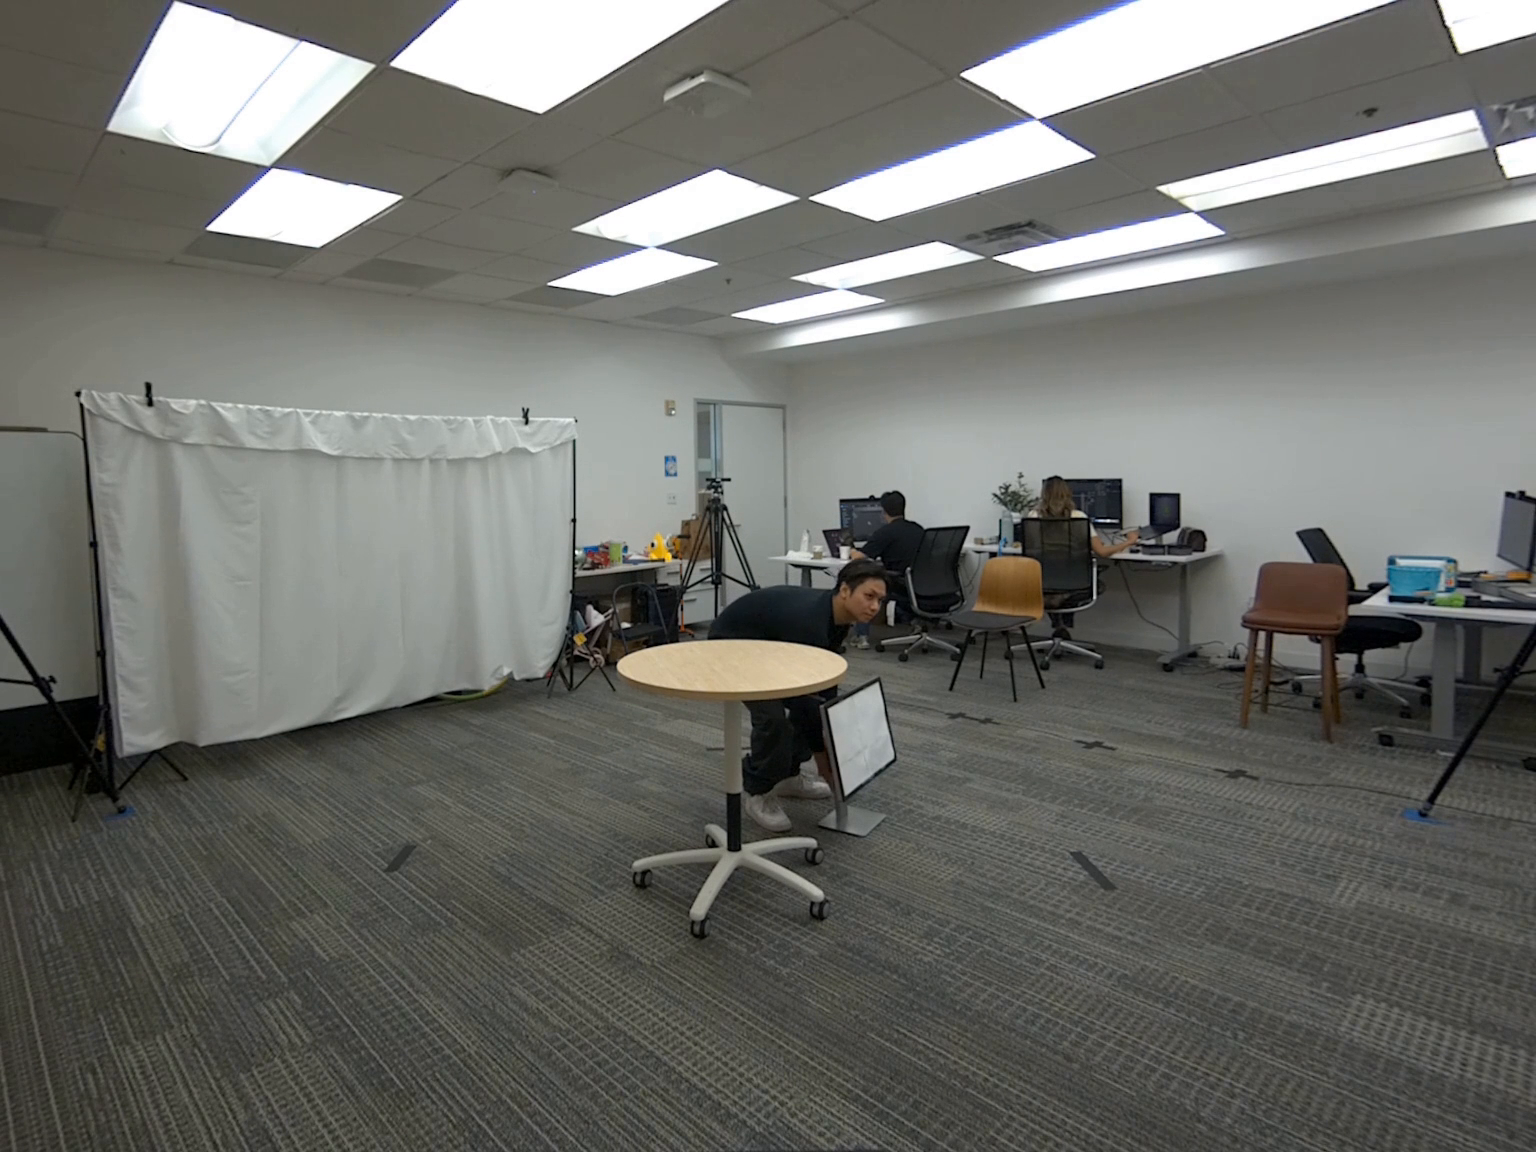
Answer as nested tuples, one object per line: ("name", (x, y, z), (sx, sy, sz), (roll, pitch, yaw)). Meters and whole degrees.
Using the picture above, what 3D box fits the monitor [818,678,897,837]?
("monitor", (0.338, 0.727, 3.443), (0.192, 0.520, 0.527), (2, 5, 30))
